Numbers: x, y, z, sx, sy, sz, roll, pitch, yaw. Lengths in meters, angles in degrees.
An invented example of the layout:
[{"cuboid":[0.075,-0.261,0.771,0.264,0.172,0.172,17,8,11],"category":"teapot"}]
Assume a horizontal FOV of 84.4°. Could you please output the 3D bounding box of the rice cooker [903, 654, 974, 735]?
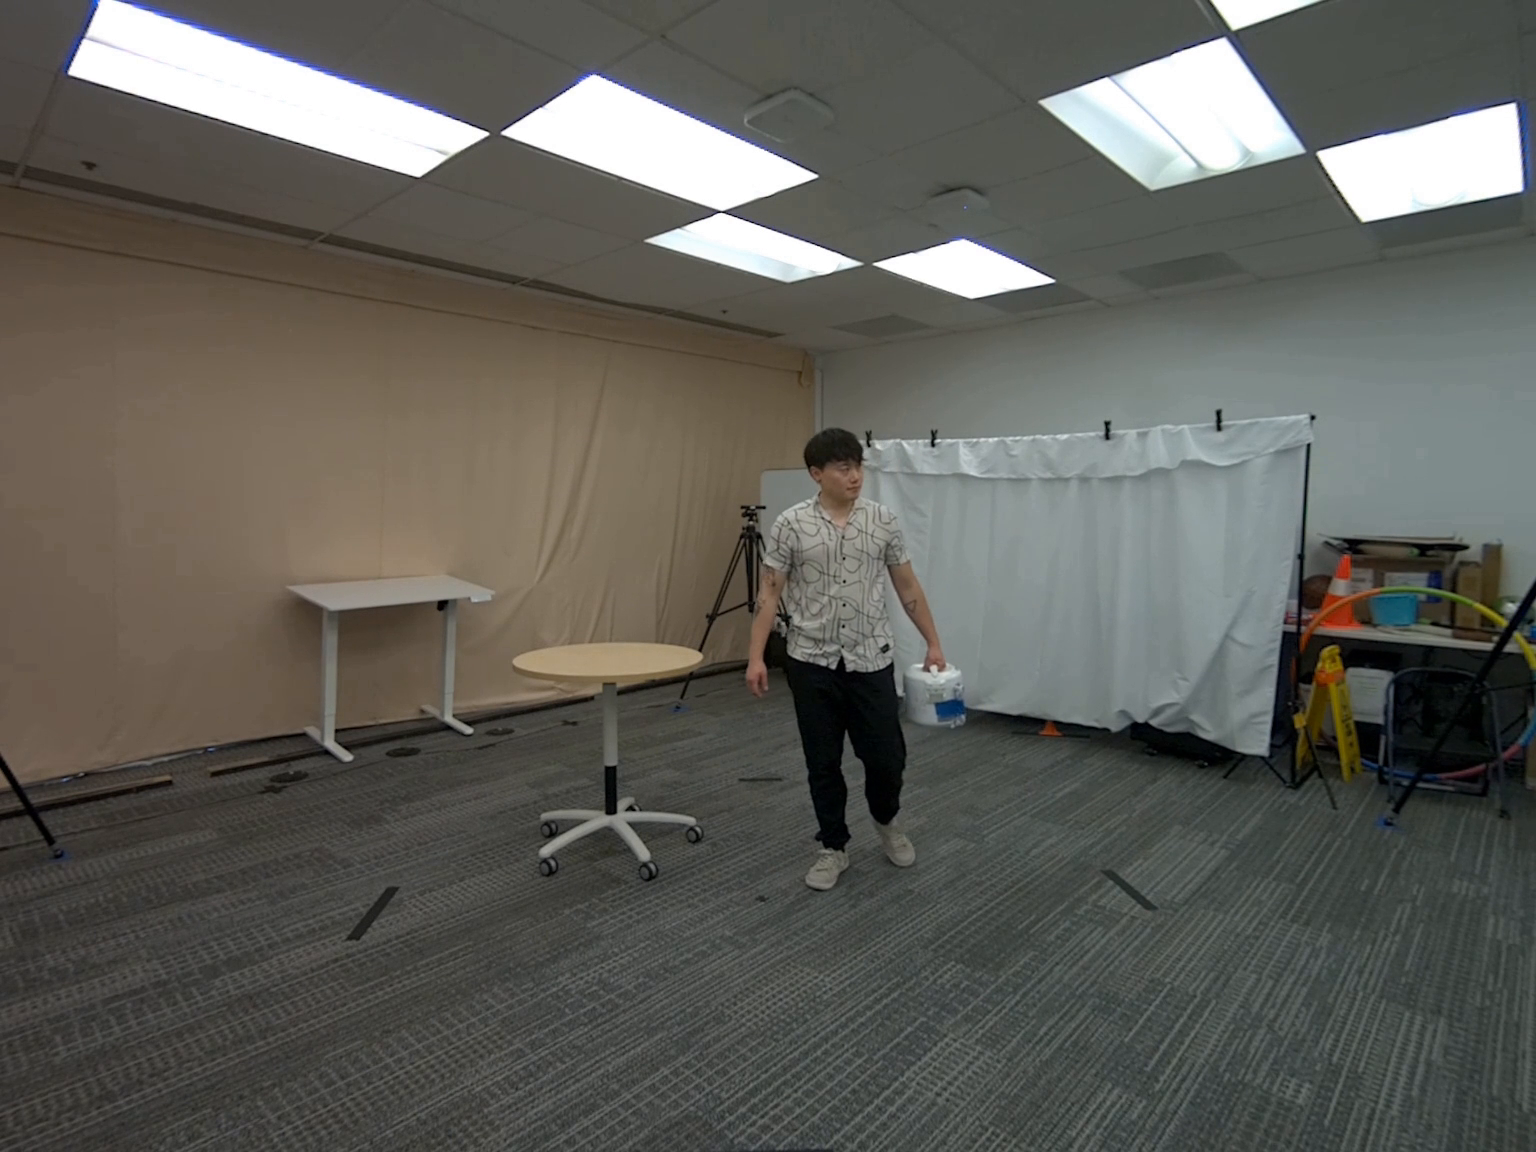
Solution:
[{"cuboid":[0.618,0.429,3.099,0.219,0.232,0.220,-3,7,7],"category":"rice cooker"}]
